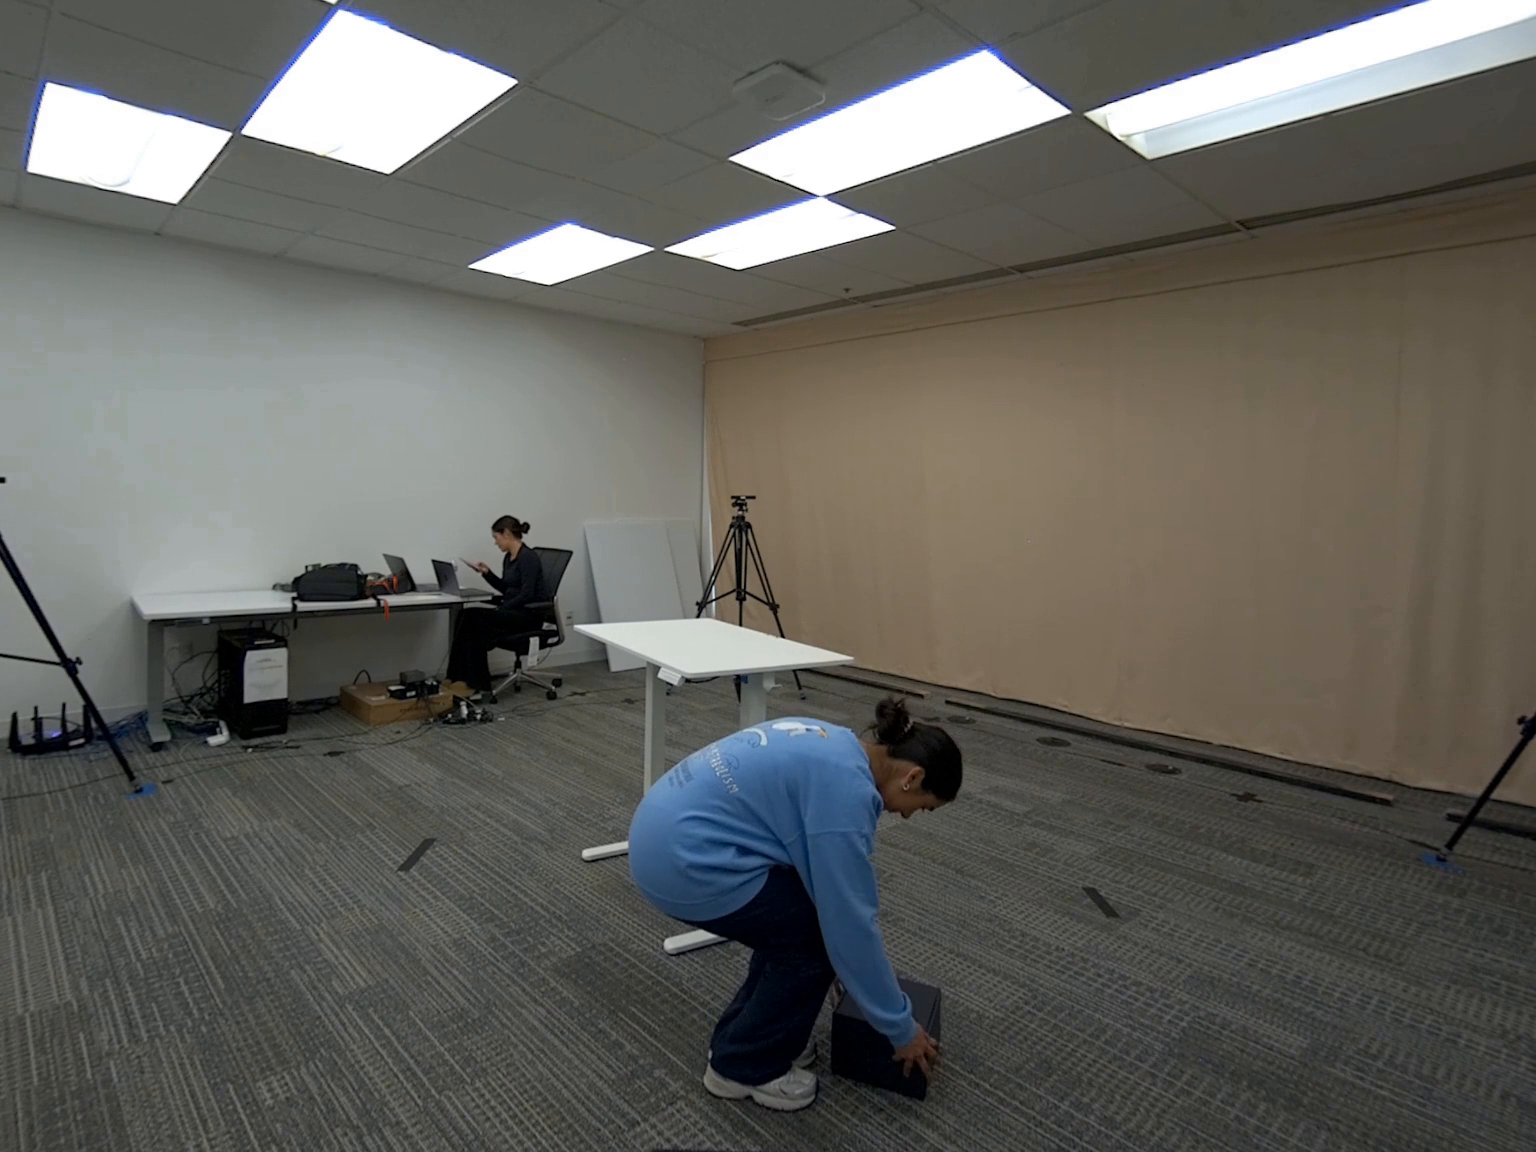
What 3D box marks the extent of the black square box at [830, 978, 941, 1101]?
[{"bbox_3d":[0.294,1.124,2.087,0.232,0.155,0.214,3,6,20],"label":"black square box"}]
